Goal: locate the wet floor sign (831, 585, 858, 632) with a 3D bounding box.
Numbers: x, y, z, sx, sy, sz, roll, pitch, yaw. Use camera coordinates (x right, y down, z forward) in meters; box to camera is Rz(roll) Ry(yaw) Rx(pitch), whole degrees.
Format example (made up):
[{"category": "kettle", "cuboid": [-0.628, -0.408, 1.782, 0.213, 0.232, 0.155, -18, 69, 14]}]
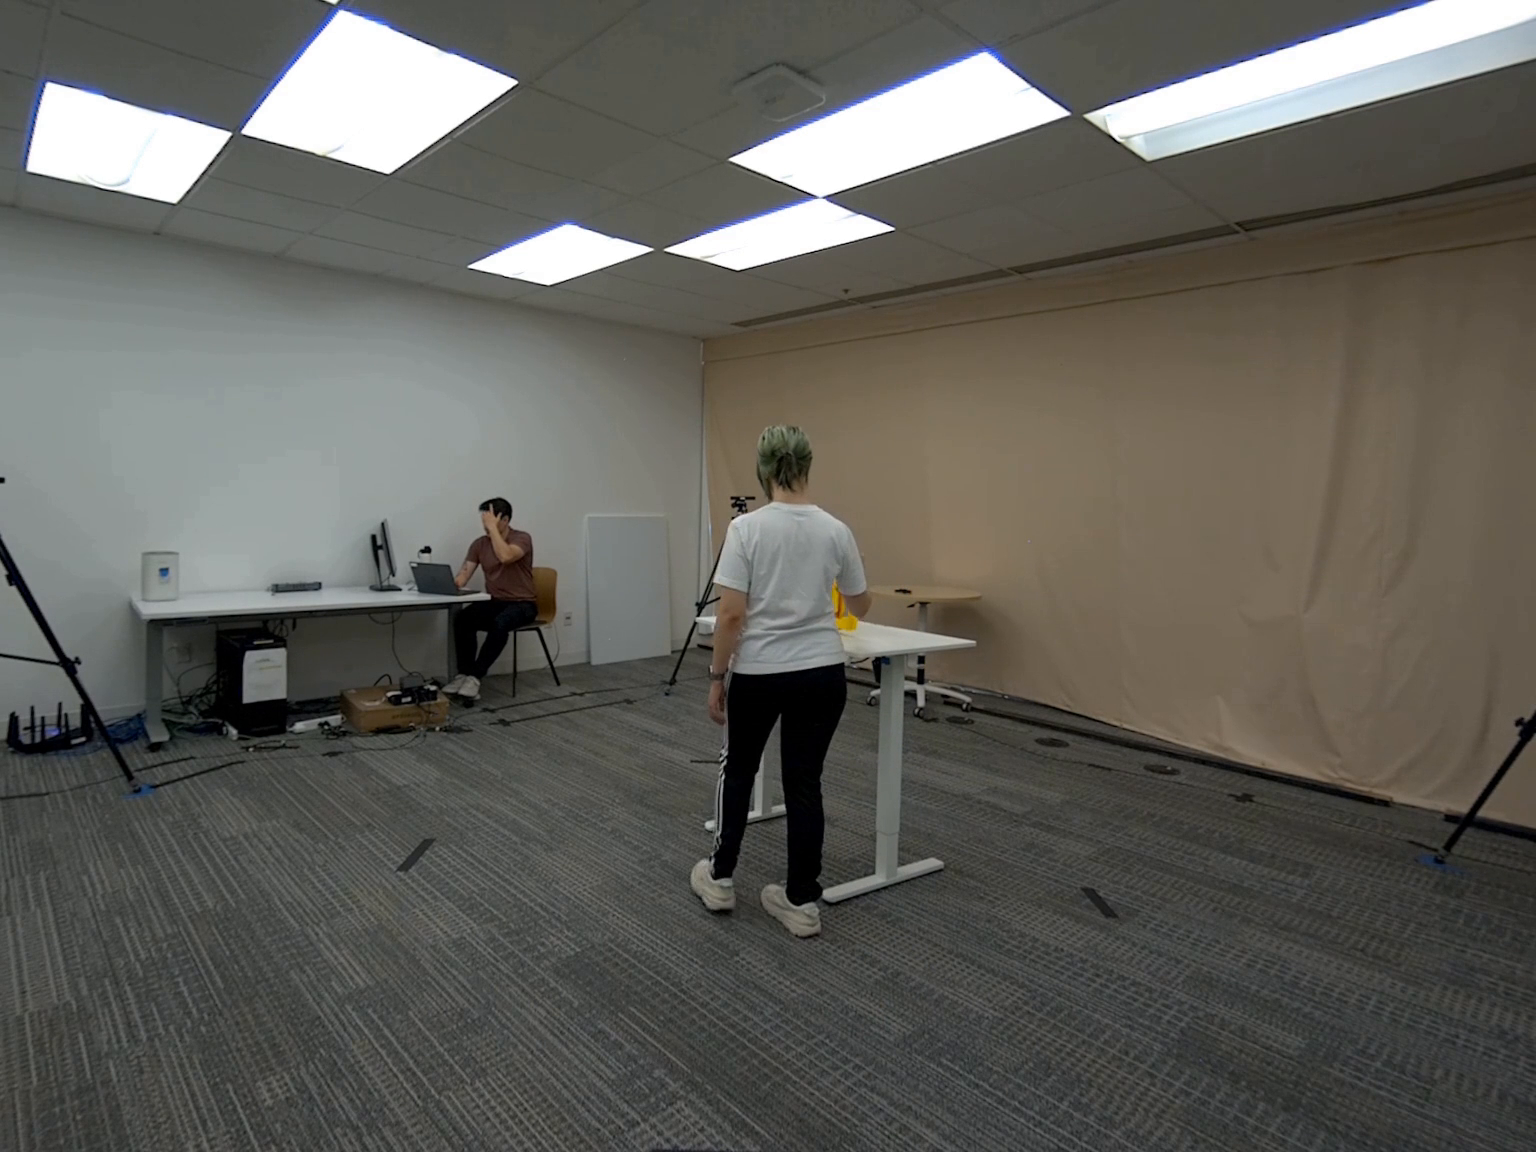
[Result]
[{"category": "wet floor sign", "cuboid": [0.126, 0.078, 3.400, 0.283, 0.281, 0.663, -2, 7, -37]}]
